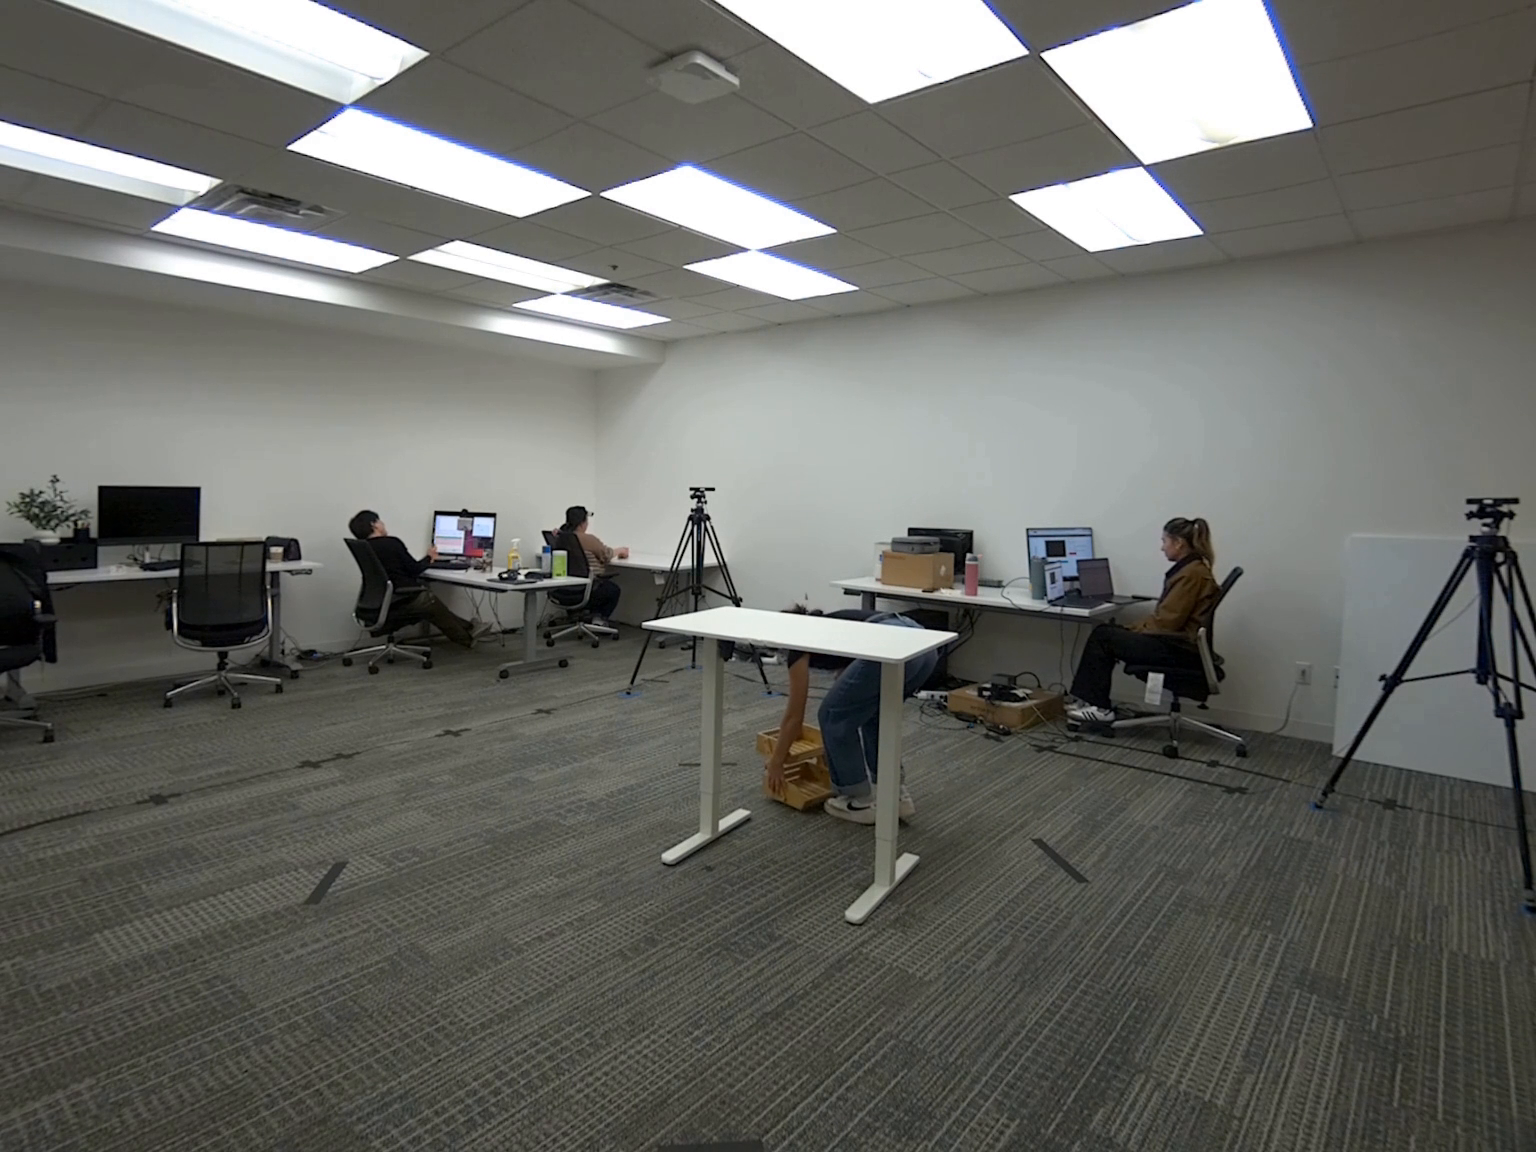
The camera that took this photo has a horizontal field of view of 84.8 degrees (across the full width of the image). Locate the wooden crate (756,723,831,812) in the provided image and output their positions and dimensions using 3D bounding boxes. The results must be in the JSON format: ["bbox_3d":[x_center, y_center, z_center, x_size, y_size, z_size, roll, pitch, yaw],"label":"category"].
[{"bbox_3d":[0.146,0.841,3.835,0.313,0.272,0.314,9,7,43],"label":"wooden crate"}]
